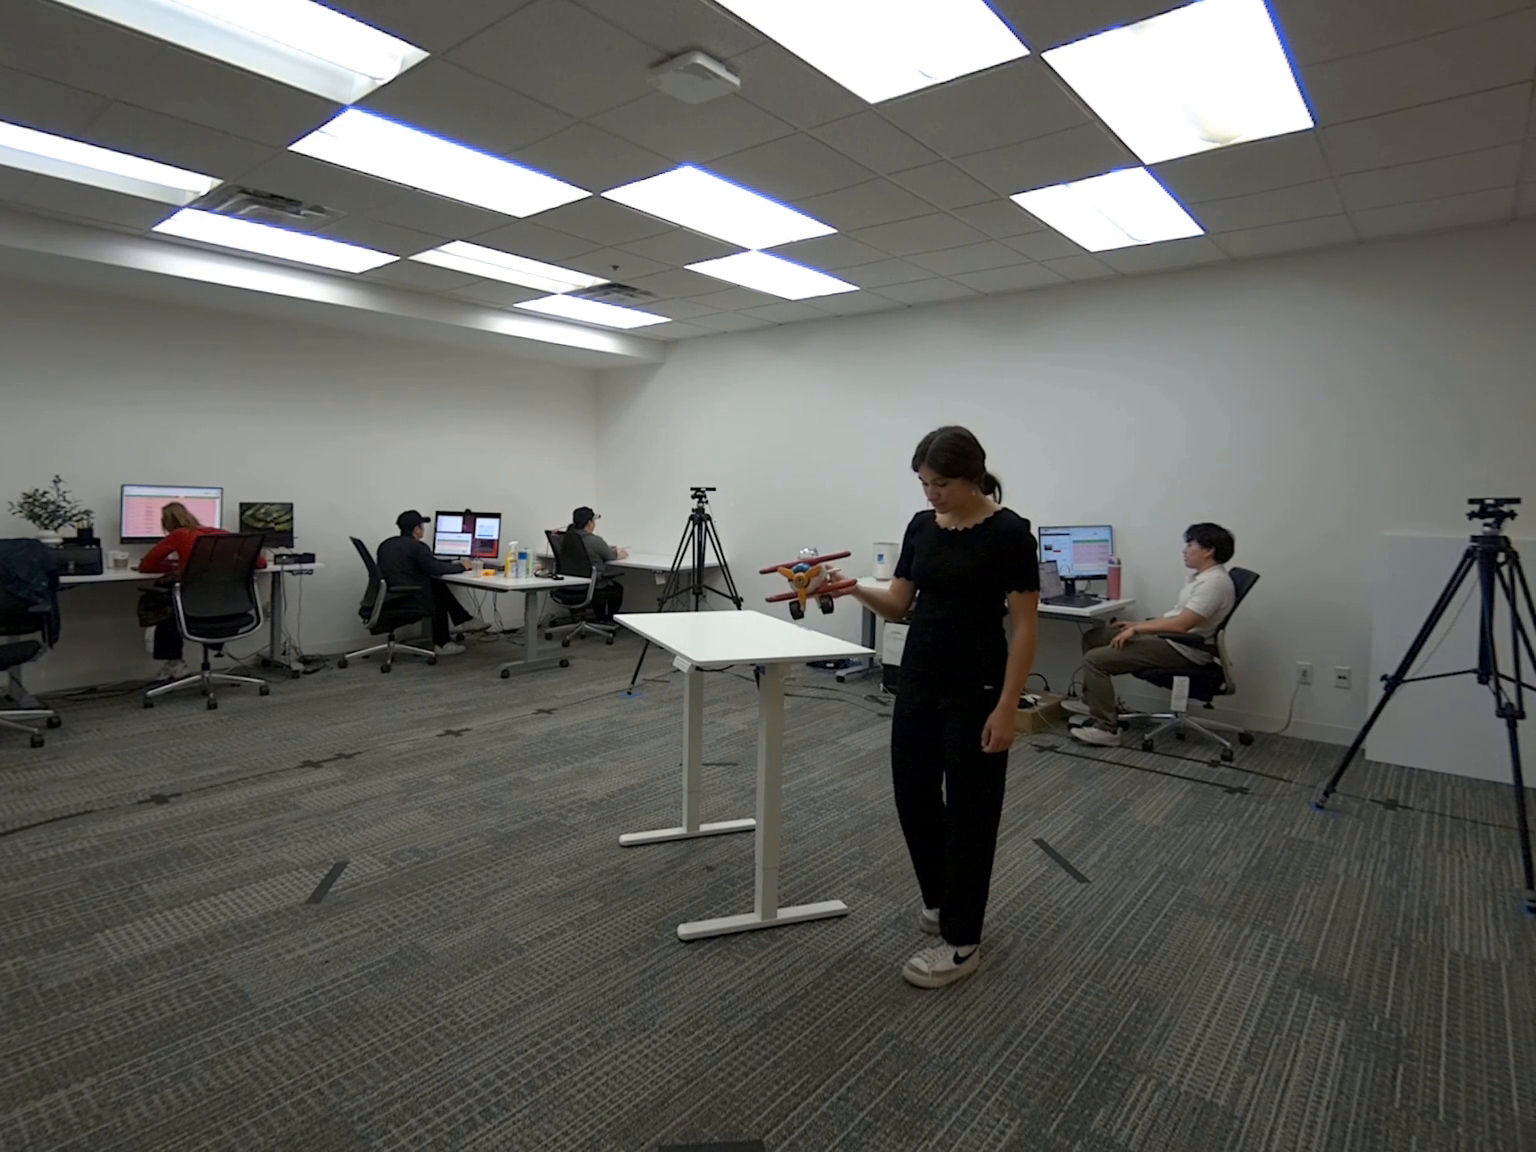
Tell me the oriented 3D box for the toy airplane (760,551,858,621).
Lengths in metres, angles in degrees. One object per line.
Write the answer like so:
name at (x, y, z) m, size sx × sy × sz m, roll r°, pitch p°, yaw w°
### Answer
toy airplane at (0.097, 0.016, 2.359) m, size 0.249 × 0.154 × 0.265 m, roll -19°, pitch 16°, yaw -10°
